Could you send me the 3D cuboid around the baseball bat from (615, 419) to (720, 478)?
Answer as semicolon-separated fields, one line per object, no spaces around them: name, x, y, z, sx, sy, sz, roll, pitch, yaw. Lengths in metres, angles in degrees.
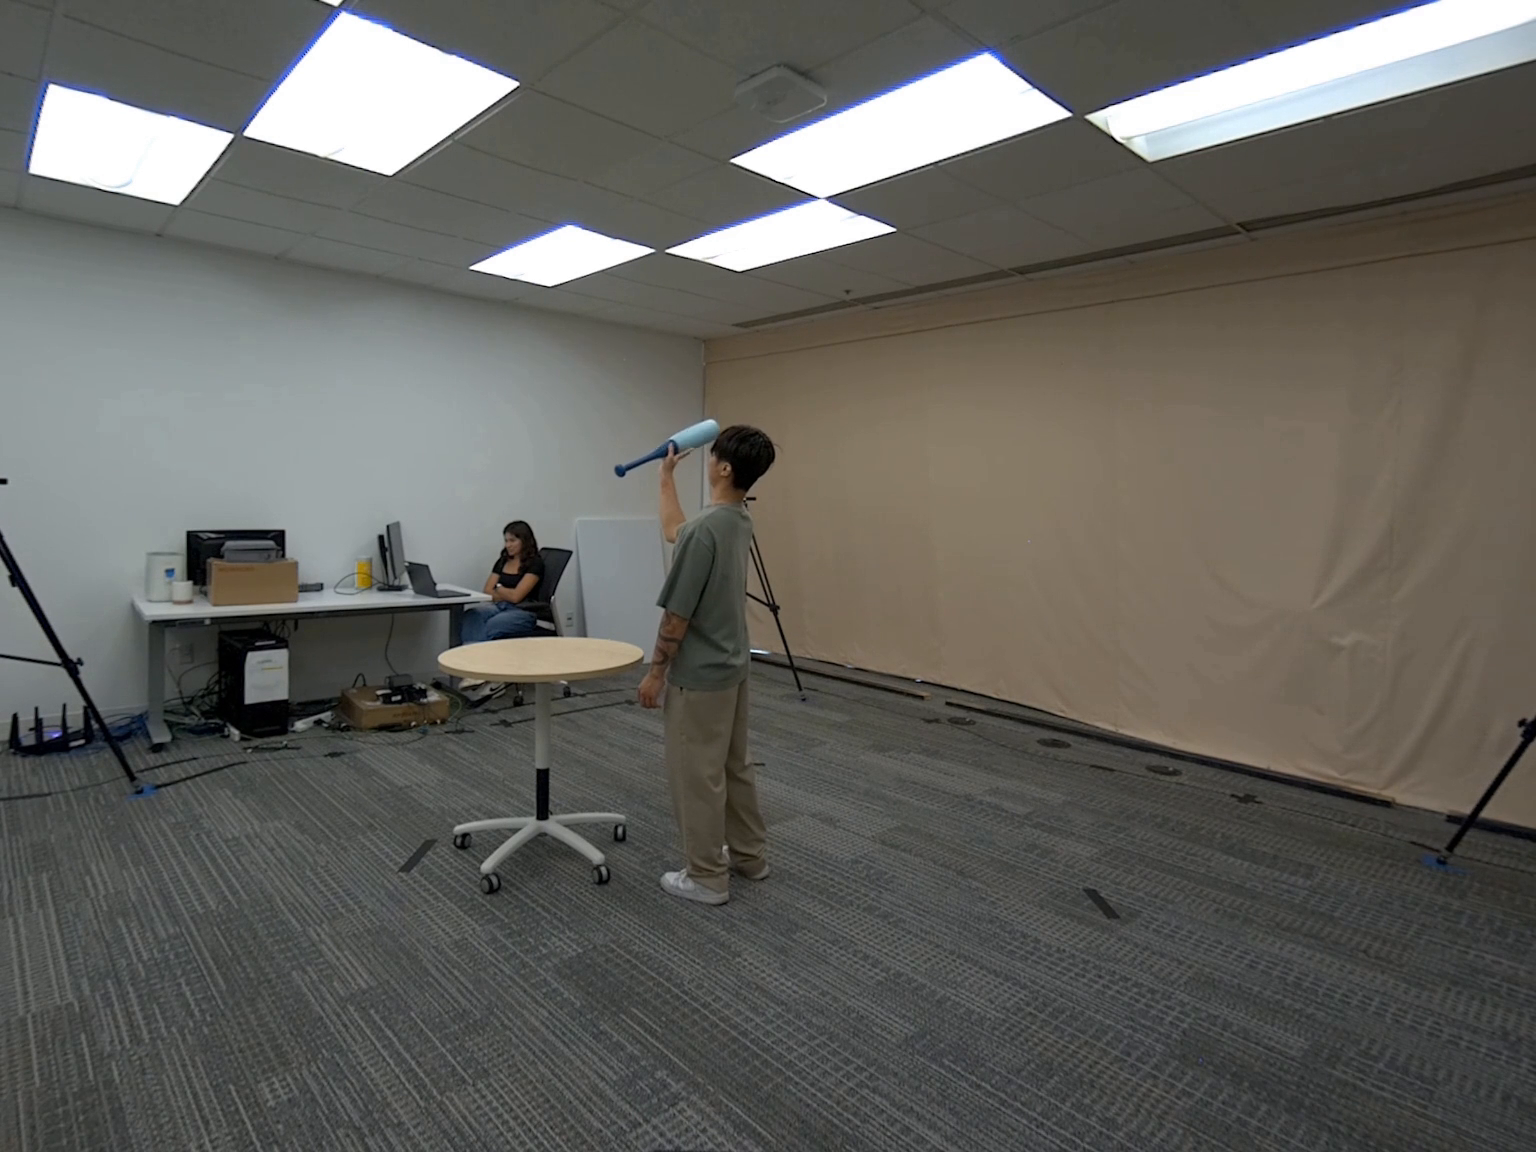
baseball bat;-0.397;-0.496;3.282;0.091;0.087;0.539;5;28;40
